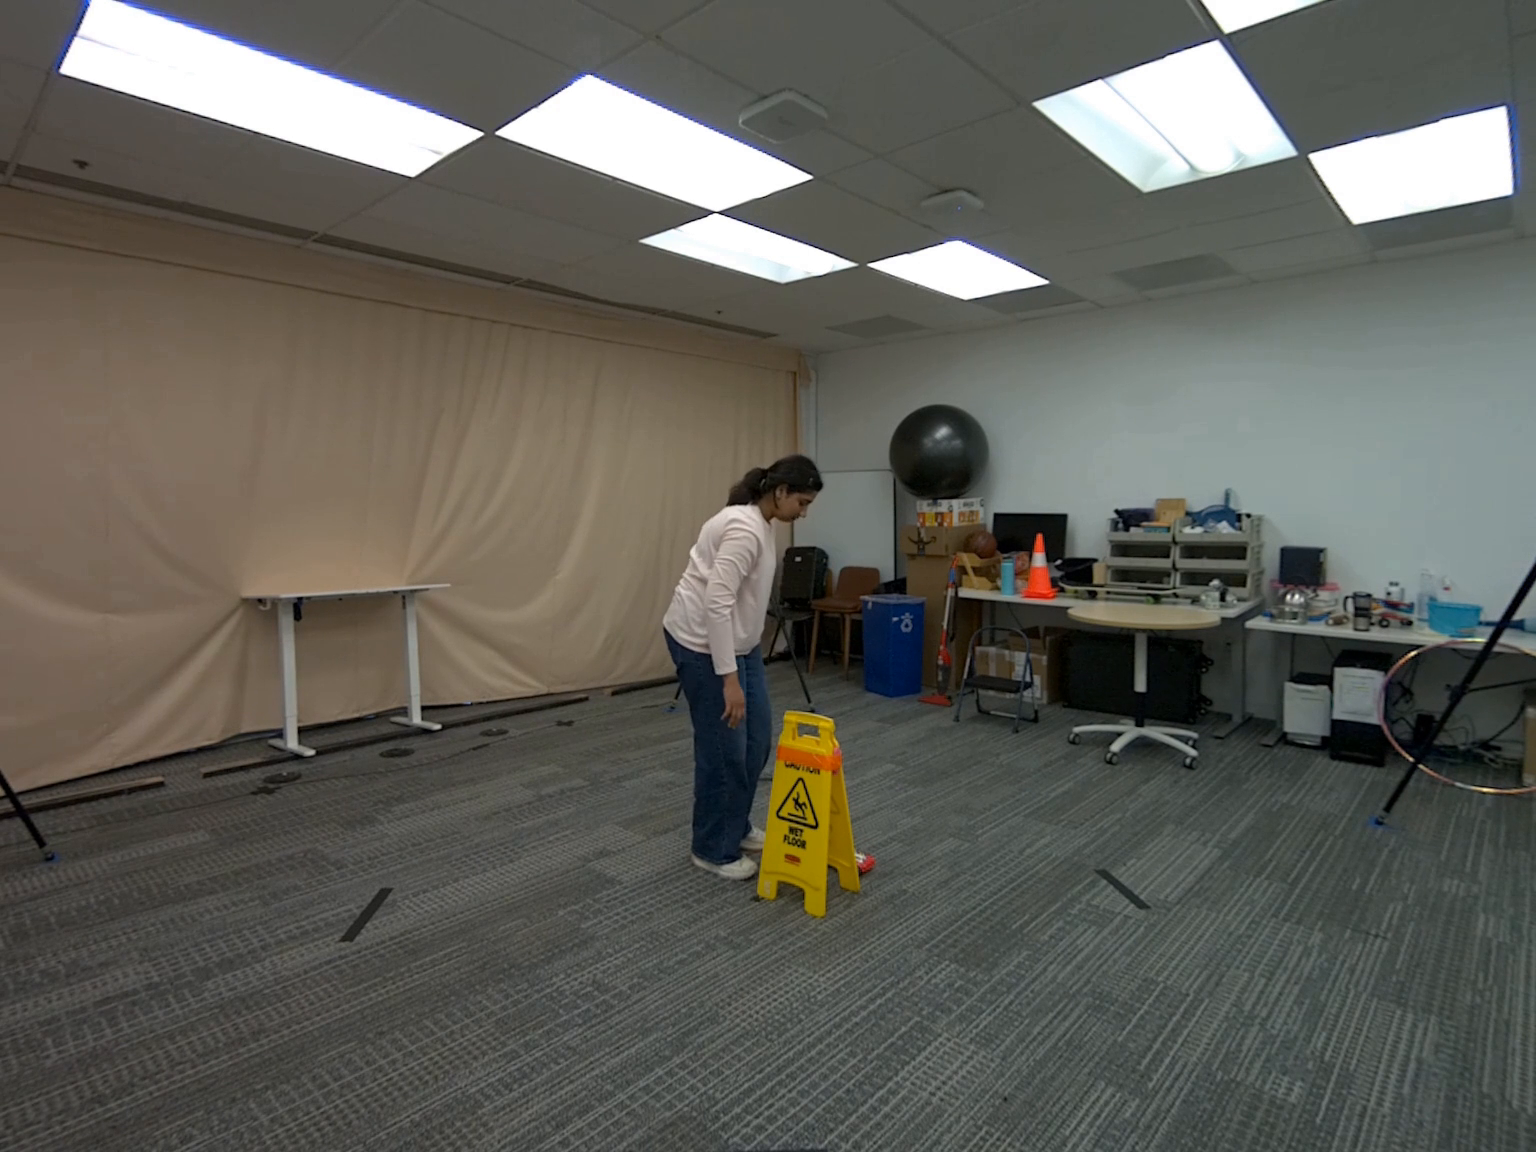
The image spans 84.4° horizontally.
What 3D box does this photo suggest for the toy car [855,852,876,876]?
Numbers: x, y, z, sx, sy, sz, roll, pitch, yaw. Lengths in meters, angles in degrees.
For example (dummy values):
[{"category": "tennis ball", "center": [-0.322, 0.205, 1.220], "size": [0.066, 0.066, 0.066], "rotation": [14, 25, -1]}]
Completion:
[{"category": "toy car", "center": [0.289, 1.093, 3.252], "size": [0.263, 0.083, 0.126], "rotation": [16, 13, 35]}]
